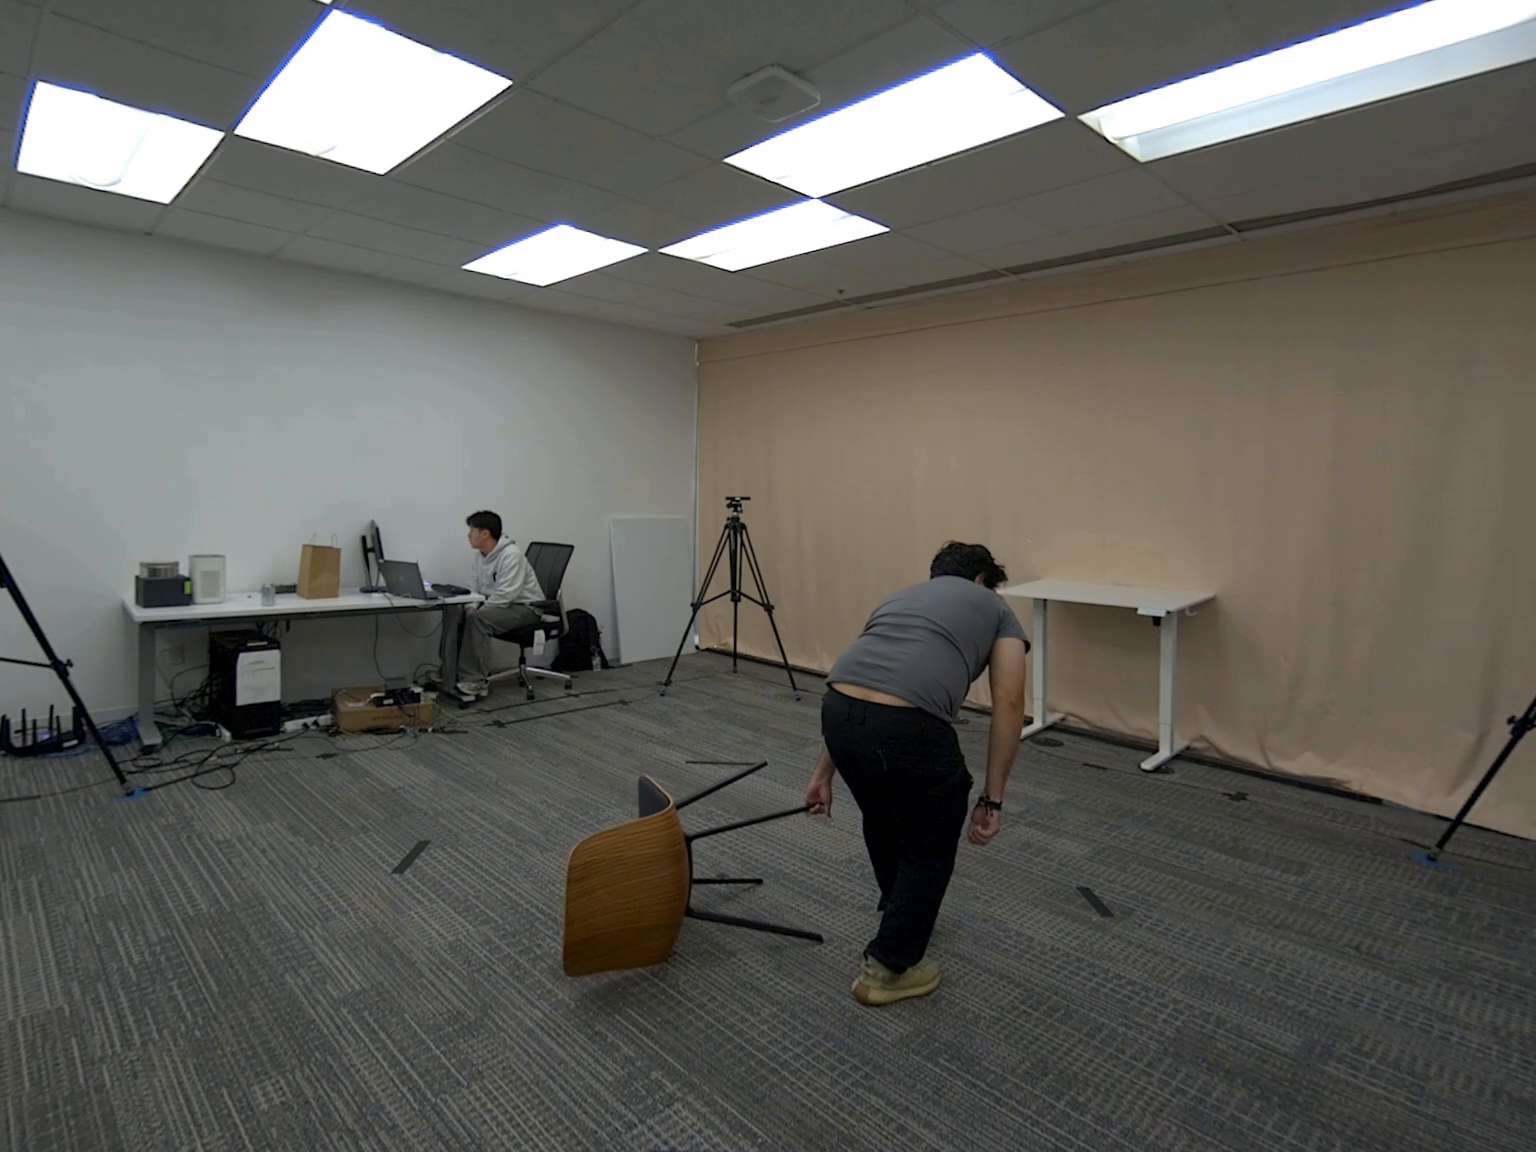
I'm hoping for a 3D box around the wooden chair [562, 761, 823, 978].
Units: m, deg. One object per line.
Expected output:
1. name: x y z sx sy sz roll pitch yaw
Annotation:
1. wooden chair: -0.304 0.910 2.675 0.860 0.477 0.535 -1 5 -29
